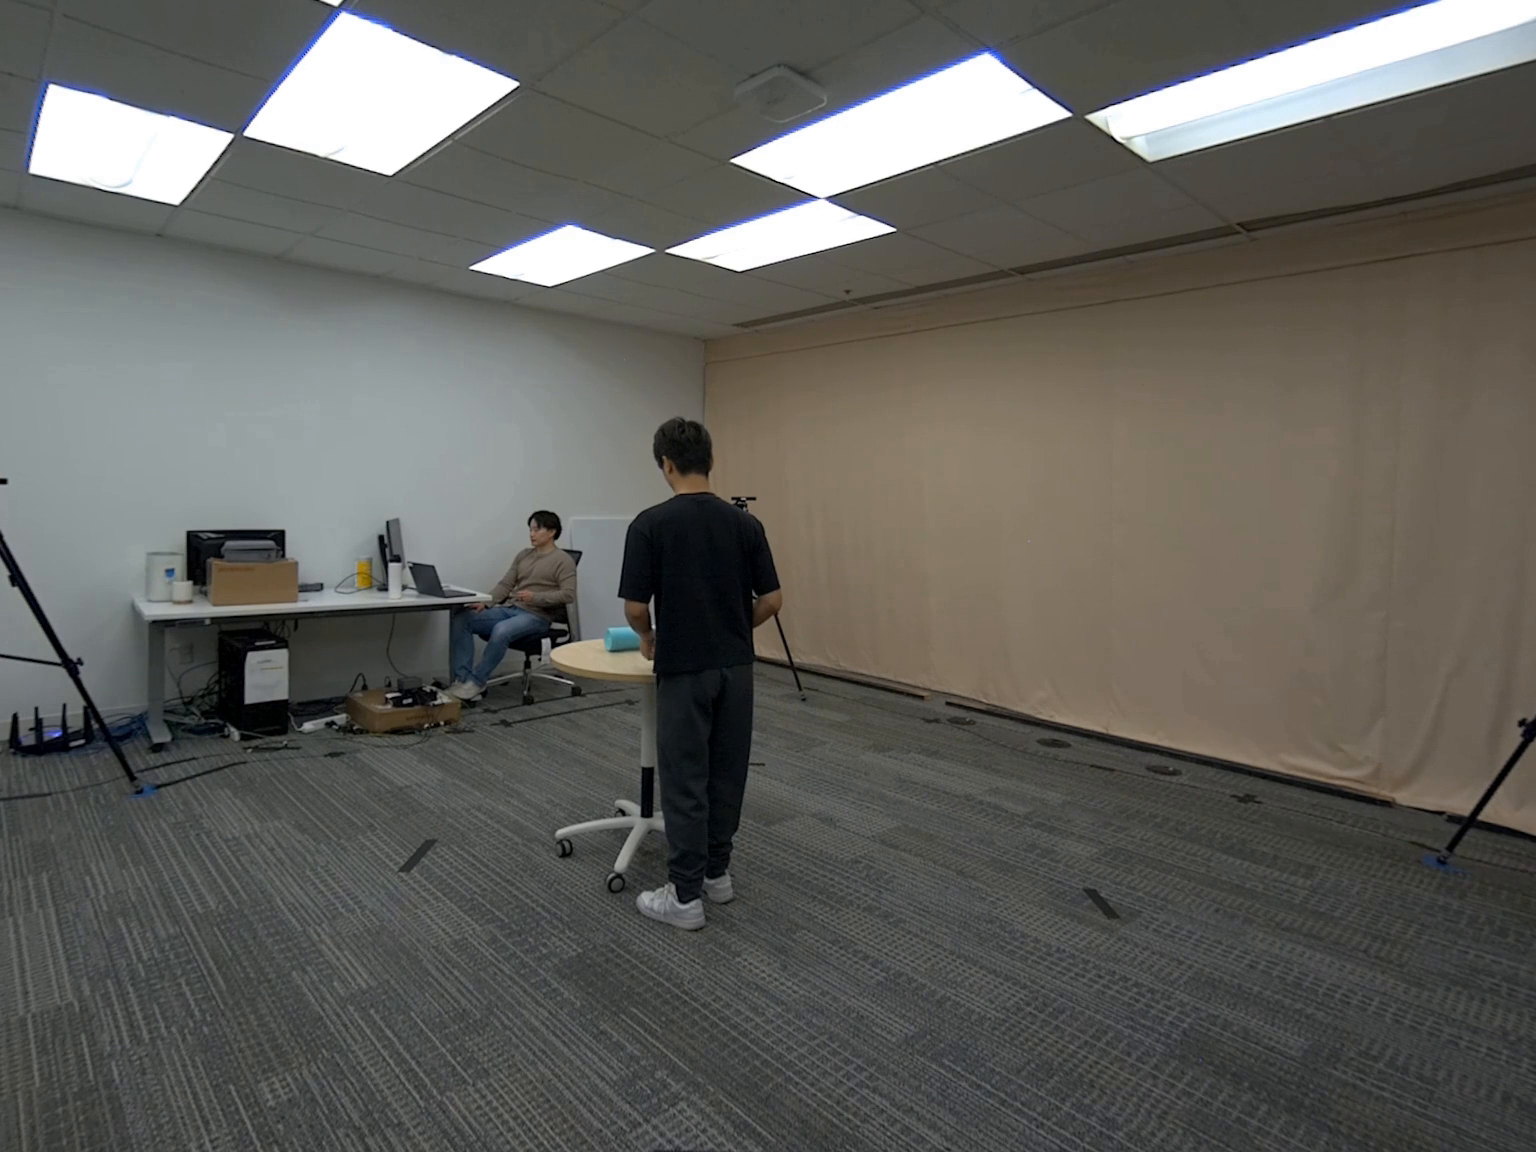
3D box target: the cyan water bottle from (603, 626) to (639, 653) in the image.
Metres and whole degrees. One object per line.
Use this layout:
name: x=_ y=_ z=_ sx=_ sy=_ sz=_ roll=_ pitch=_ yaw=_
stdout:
cyan water bottle: x=-0.505 y=0.244 z=3.354 sx=0.278 sy=0.092 sz=0.094 roll=-2 pitch=5 yaw=-28
